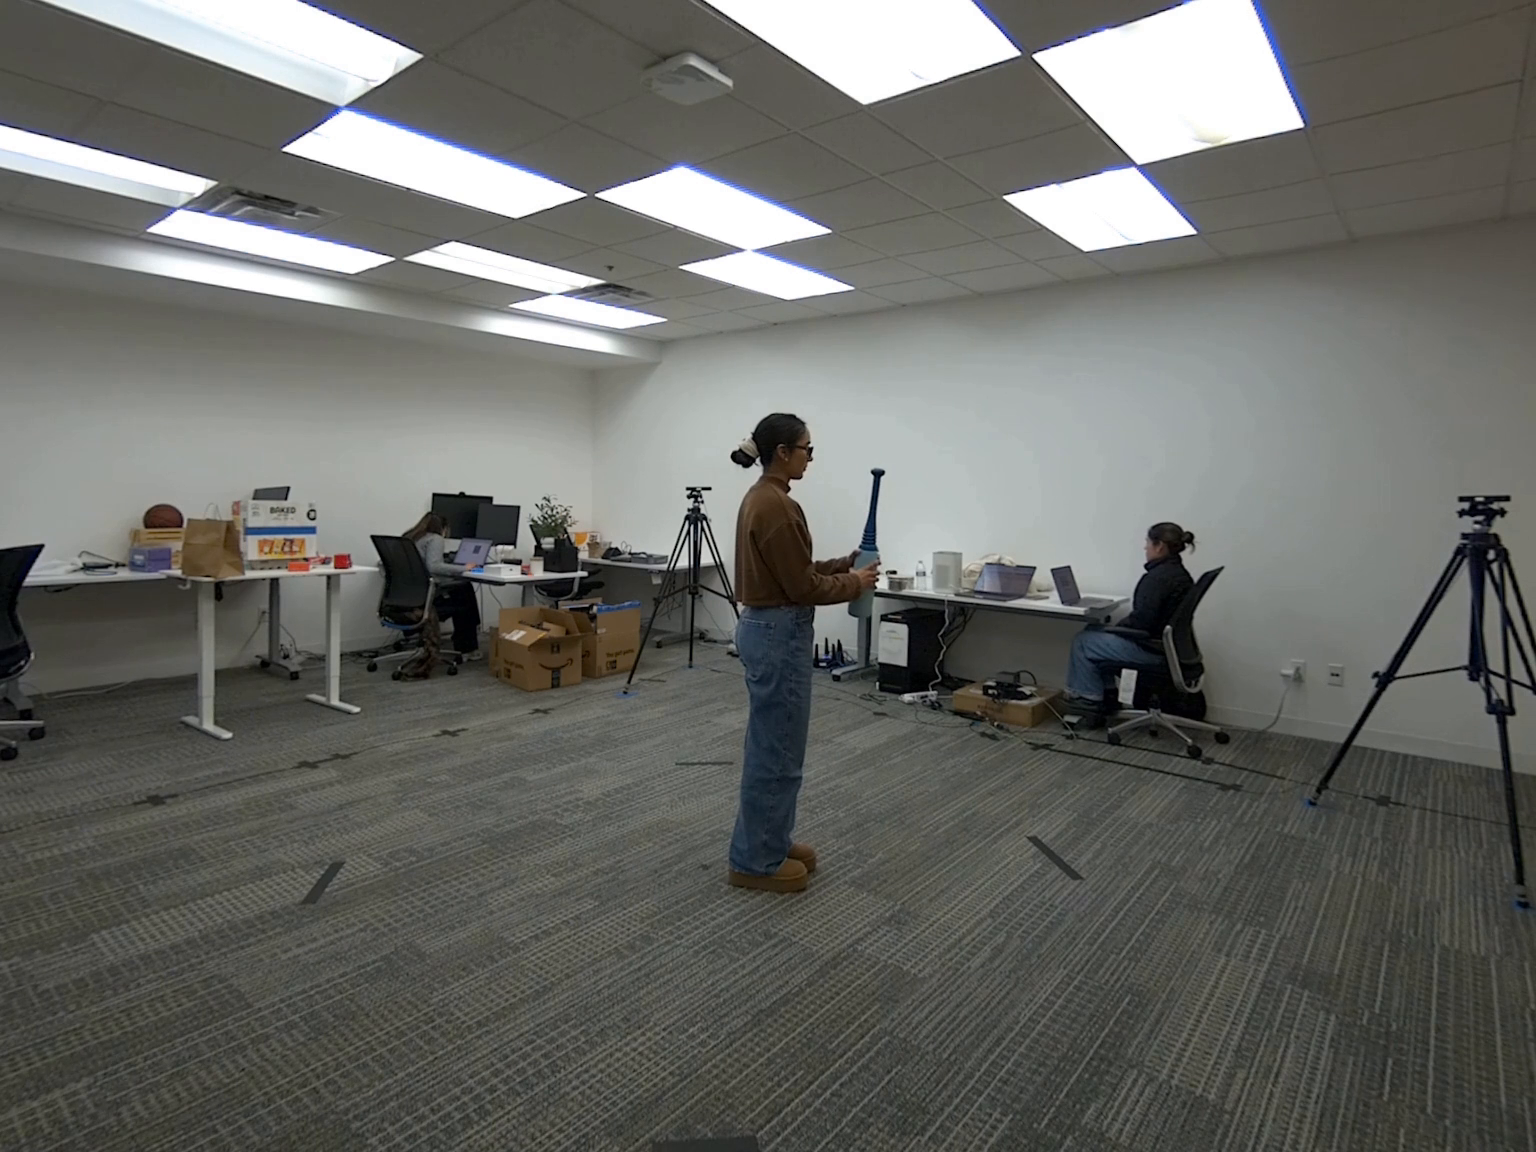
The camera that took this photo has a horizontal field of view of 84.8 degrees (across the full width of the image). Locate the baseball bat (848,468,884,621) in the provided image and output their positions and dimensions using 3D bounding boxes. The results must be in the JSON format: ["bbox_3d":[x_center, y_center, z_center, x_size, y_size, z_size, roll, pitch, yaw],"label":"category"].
[{"bbox_3d":[0.357,-0.118,3.045,0.089,0.539,0.090,6,8,-3],"label":"baseball bat"}]
